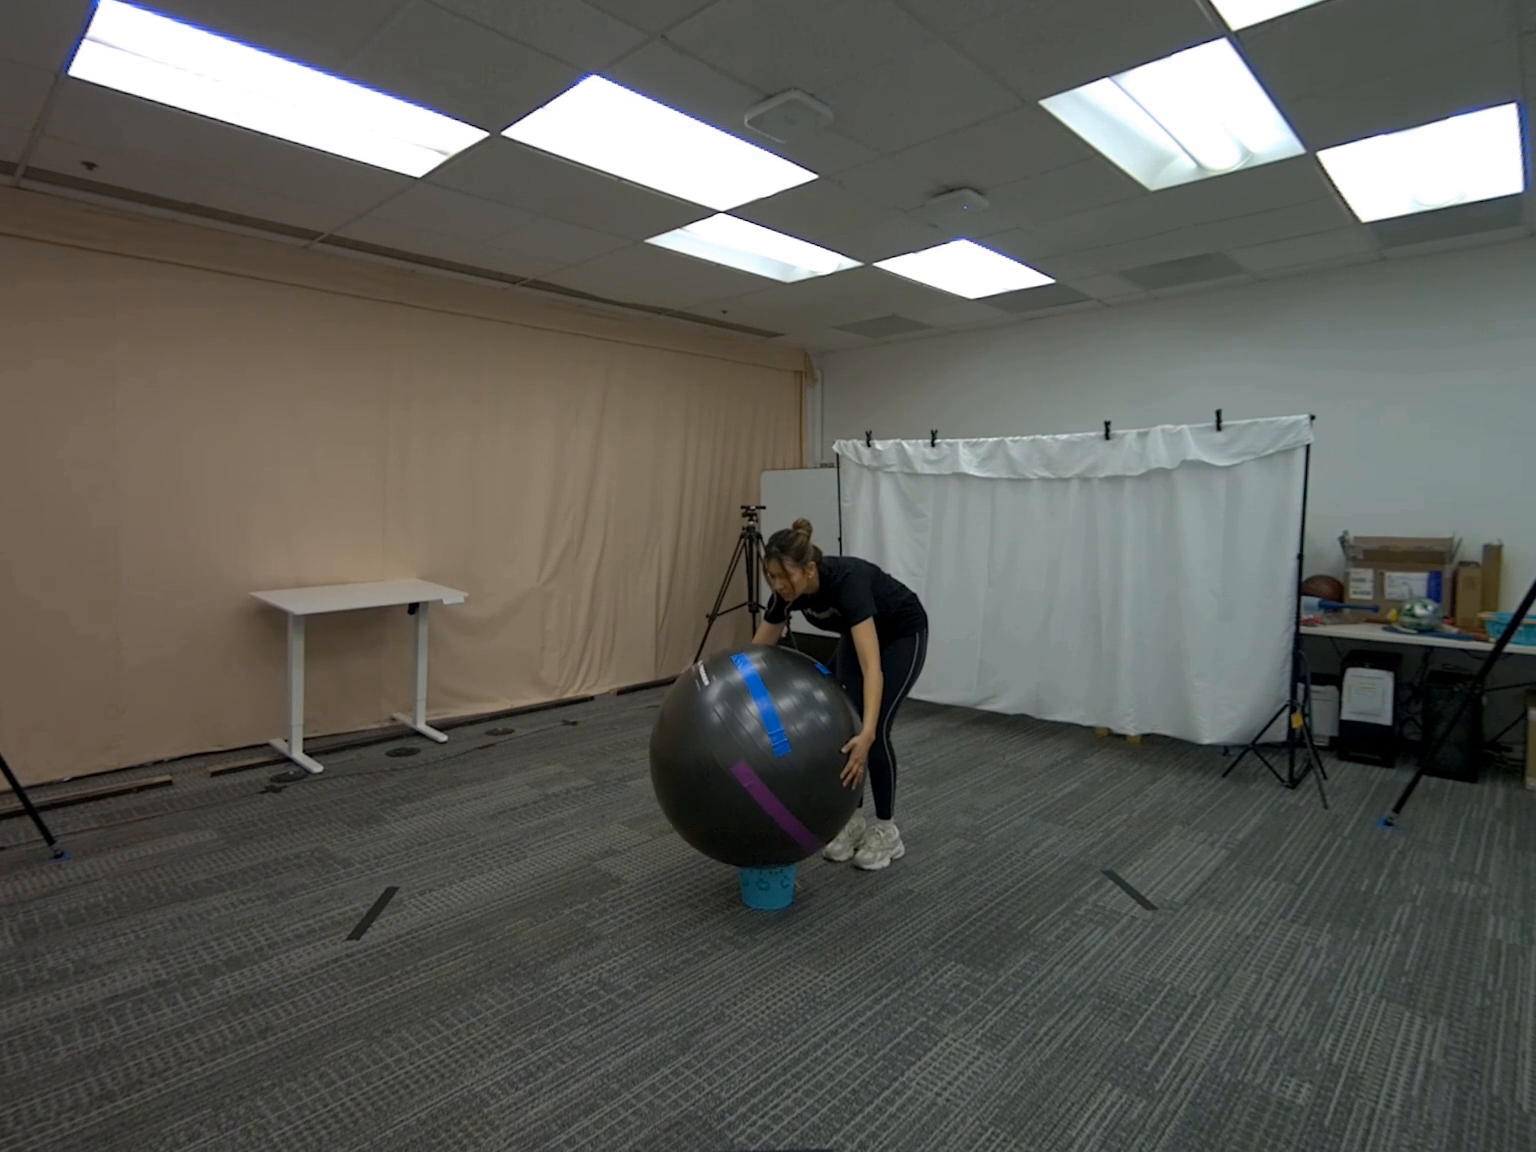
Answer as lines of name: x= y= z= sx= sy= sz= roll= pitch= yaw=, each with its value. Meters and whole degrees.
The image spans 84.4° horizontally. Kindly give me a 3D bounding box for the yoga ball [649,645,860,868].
yoga ball: x=-0.033 y=0.623 z=2.930 sx=0.757 sy=0.756 sz=0.760 roll=0 pitch=4 yaw=-2
